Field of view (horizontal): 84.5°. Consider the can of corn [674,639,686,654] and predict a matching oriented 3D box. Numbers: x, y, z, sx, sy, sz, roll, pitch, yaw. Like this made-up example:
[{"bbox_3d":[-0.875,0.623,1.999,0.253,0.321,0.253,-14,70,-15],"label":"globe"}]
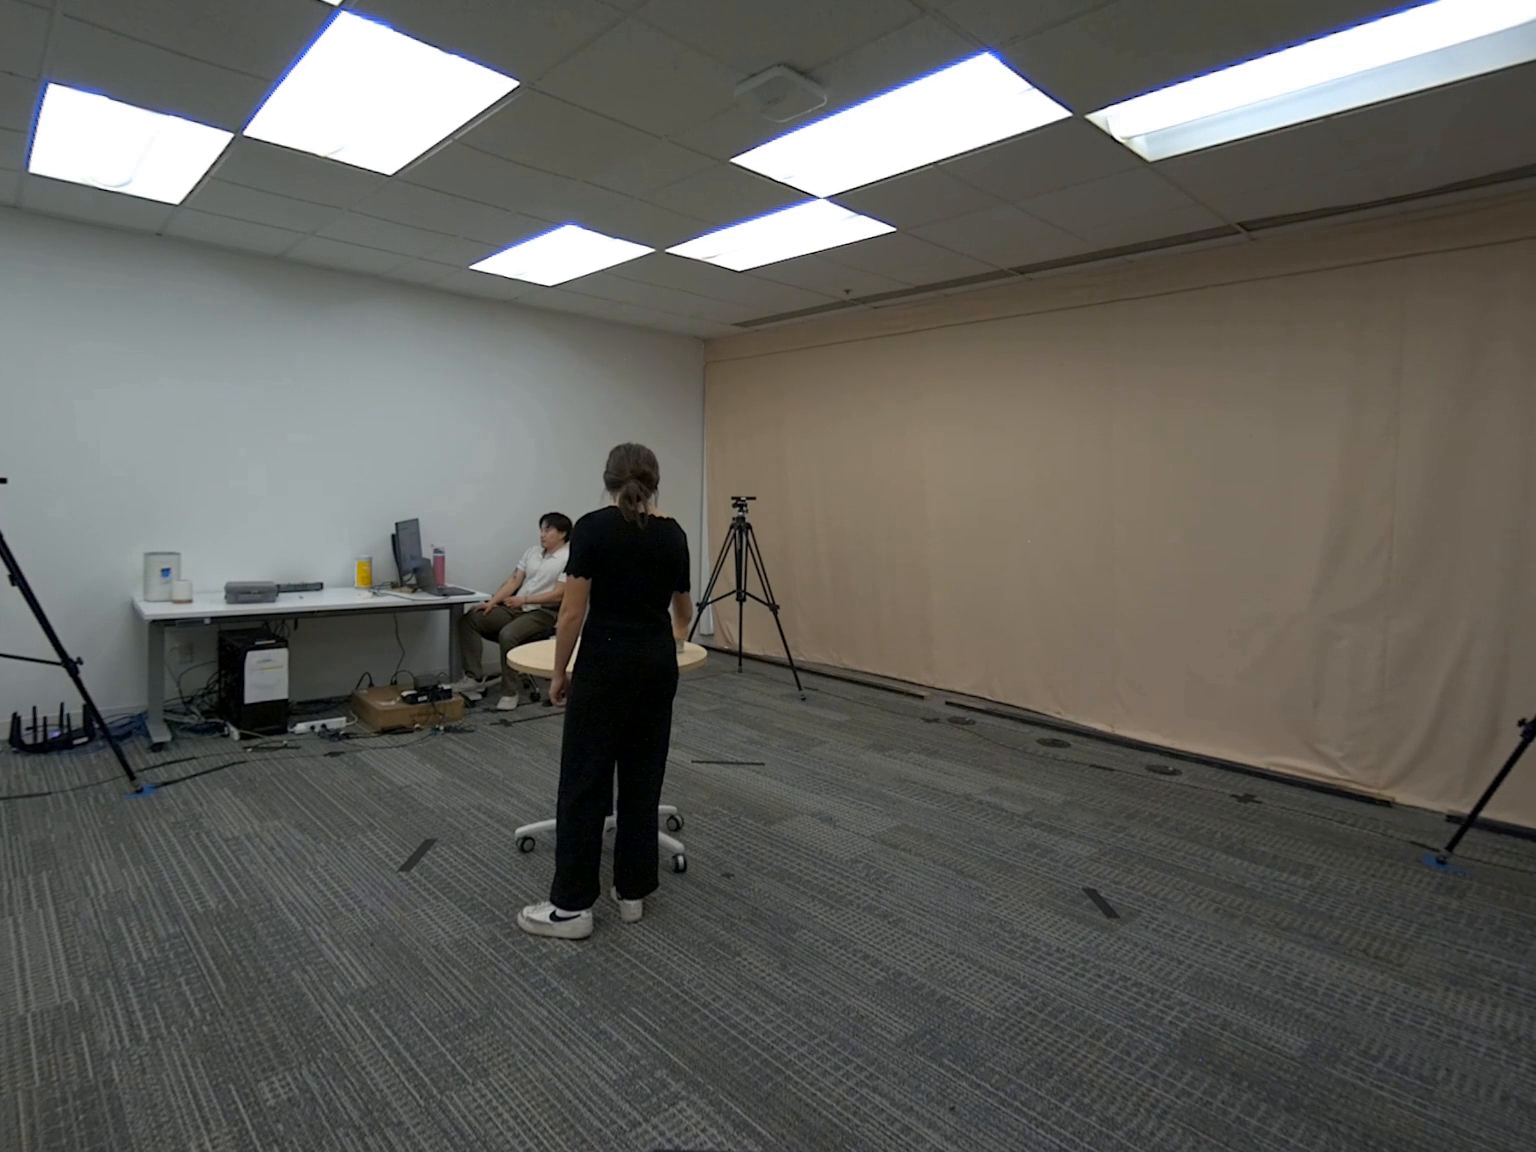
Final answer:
[{"bbox_3d":[-0.376,0.246,3.297,0.074,0.110,0.074,3,6,-2],"label":"can of corn"}]
